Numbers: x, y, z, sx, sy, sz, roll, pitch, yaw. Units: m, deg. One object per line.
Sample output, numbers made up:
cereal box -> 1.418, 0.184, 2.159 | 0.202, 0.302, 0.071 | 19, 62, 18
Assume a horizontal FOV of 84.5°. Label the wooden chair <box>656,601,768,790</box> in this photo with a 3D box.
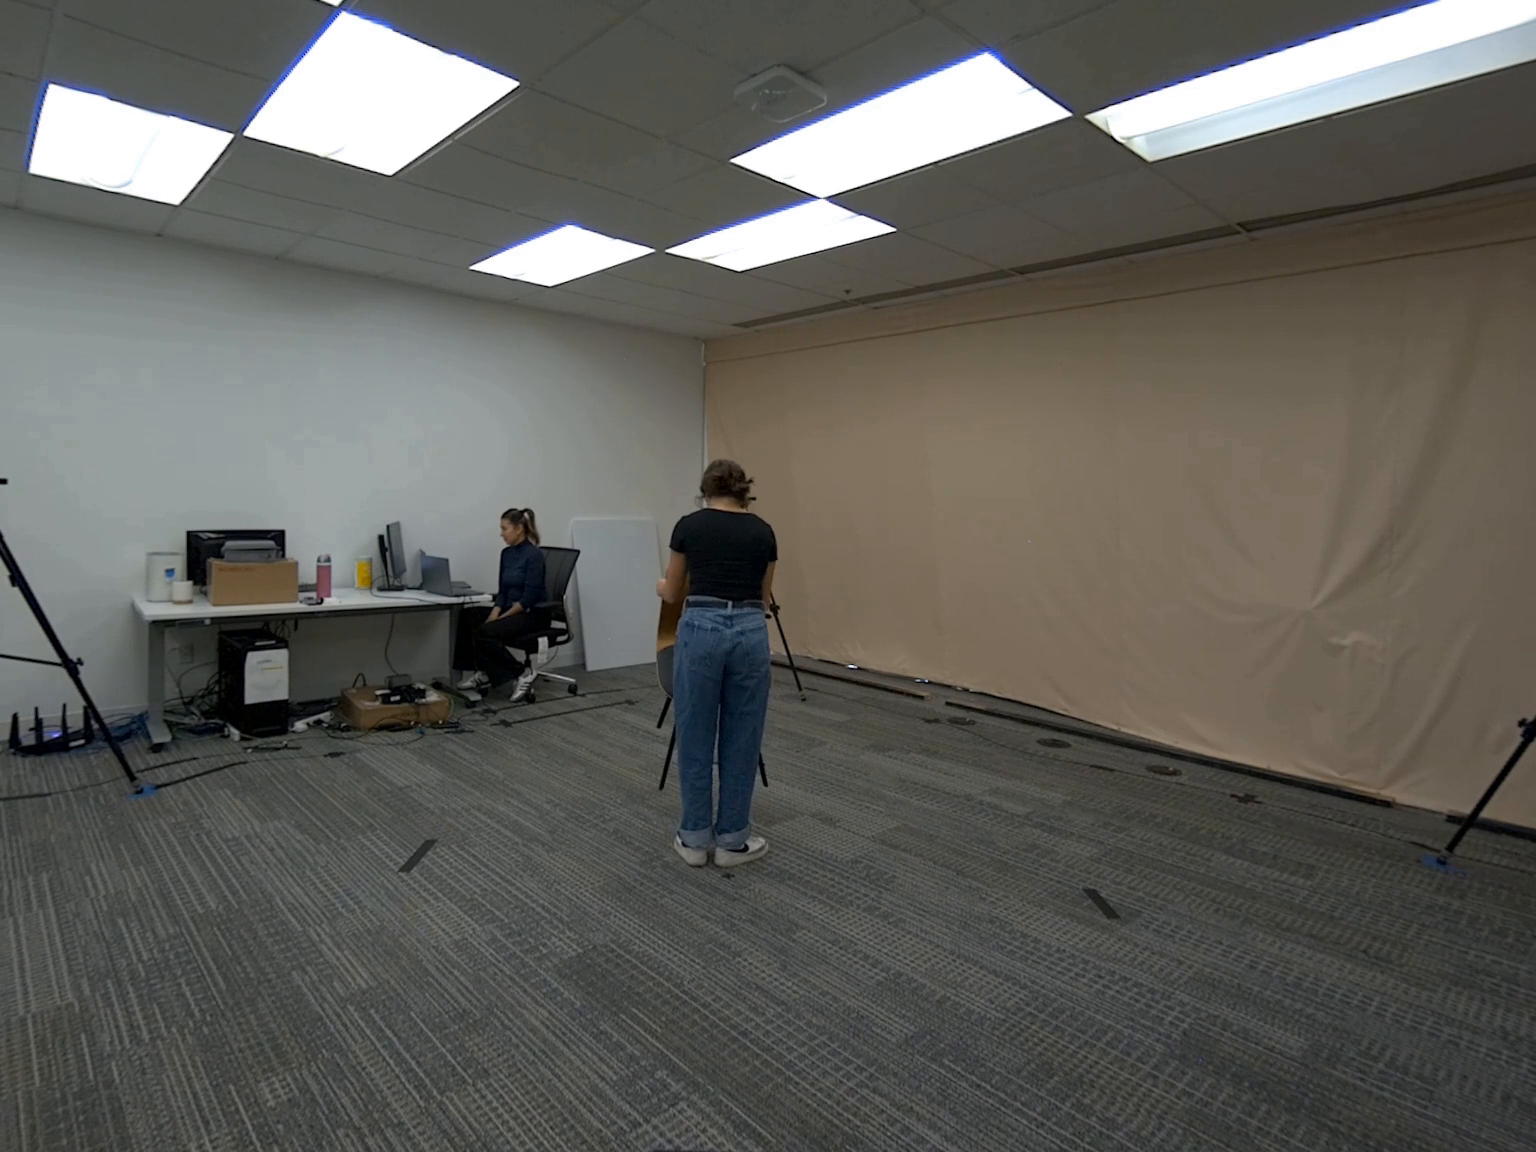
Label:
wooden chair -> -0.239, 0.410, 3.531 | 0.475, 0.866, 0.533 | 1, 19, -9
